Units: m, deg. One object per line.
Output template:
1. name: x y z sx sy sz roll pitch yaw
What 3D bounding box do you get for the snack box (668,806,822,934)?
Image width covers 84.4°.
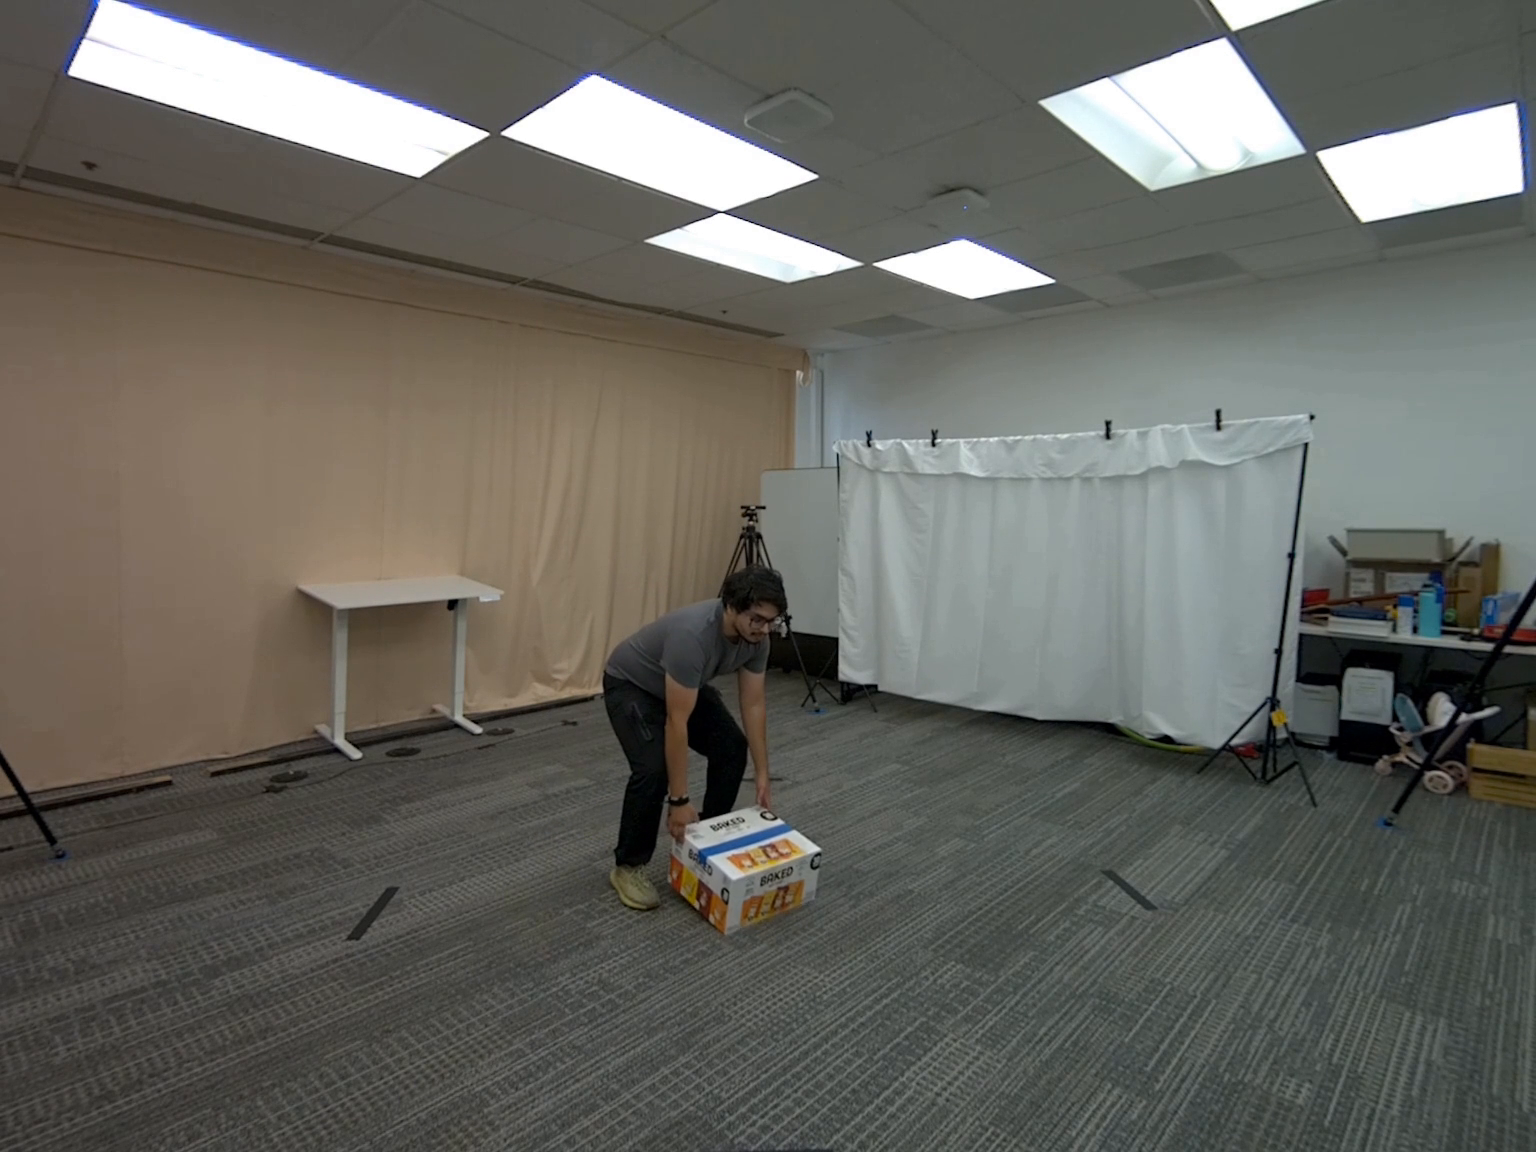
1. snack box: -0.077 1.017 2.958 0.393 0.204 0.353 -4 16 -39
